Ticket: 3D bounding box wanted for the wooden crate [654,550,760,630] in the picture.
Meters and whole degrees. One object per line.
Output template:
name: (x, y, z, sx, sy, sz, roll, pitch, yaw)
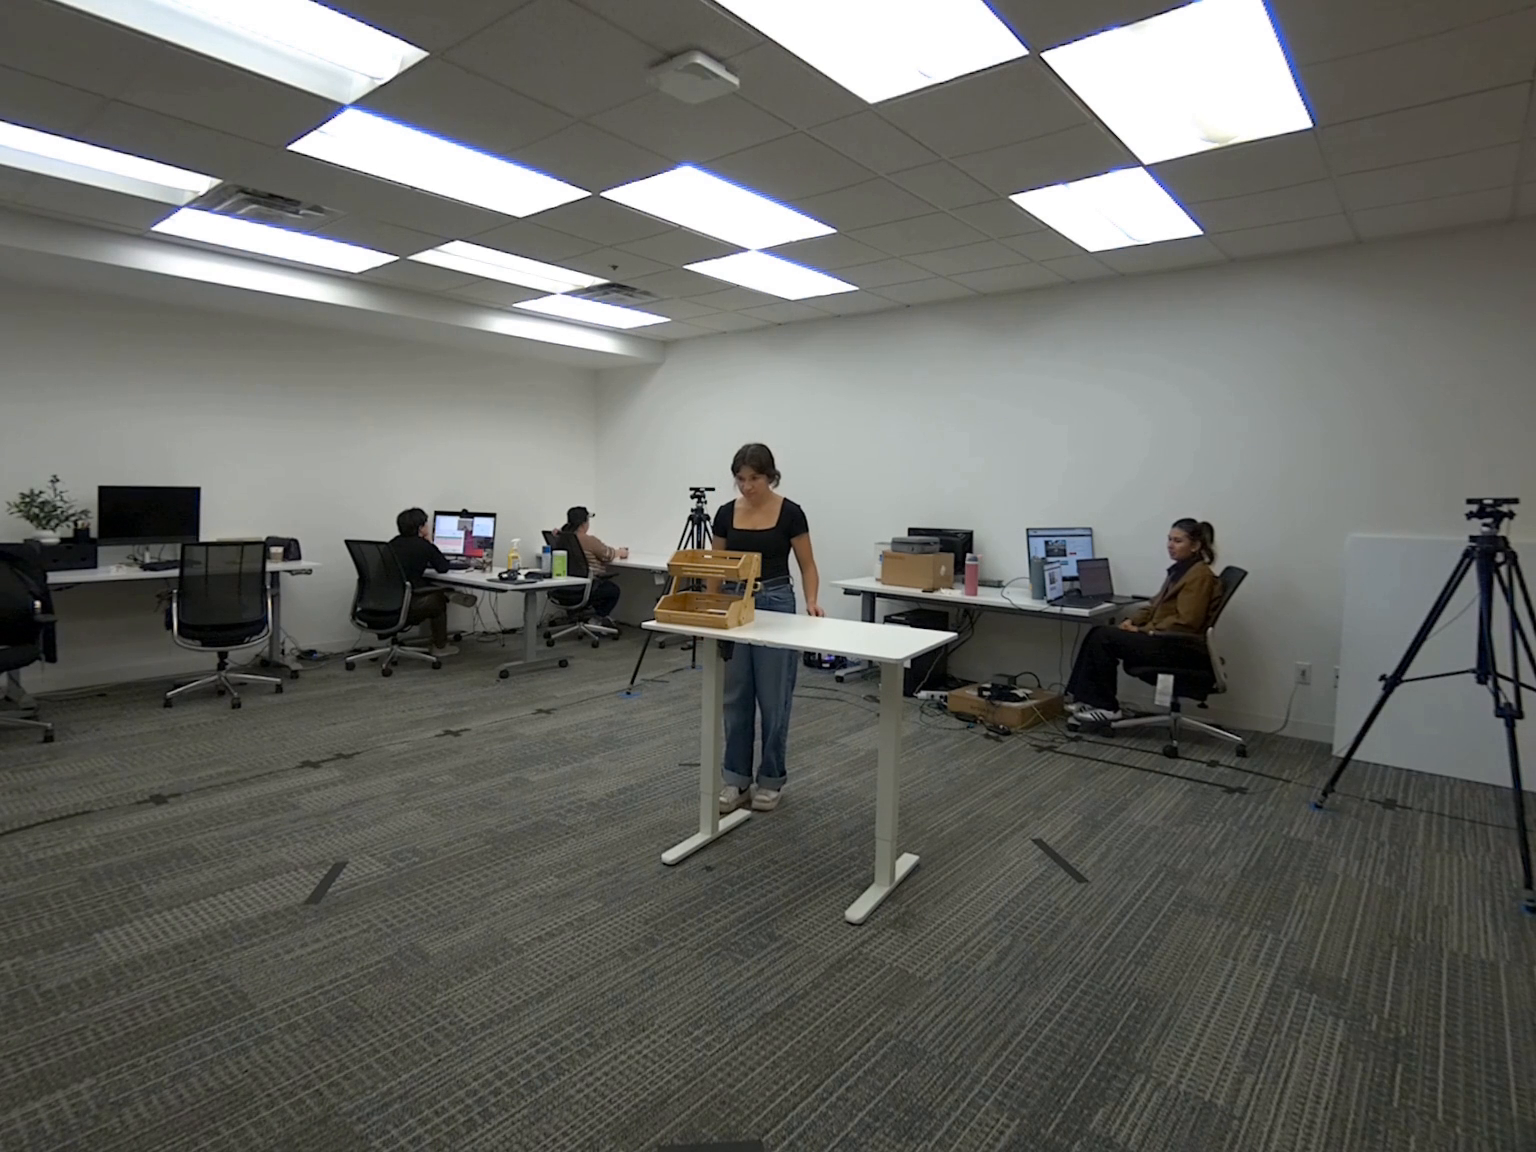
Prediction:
wooden crate: (-0.234, 0.036, 3.235, 0.333, 0.272, 0.295, 4, 4, 24)
